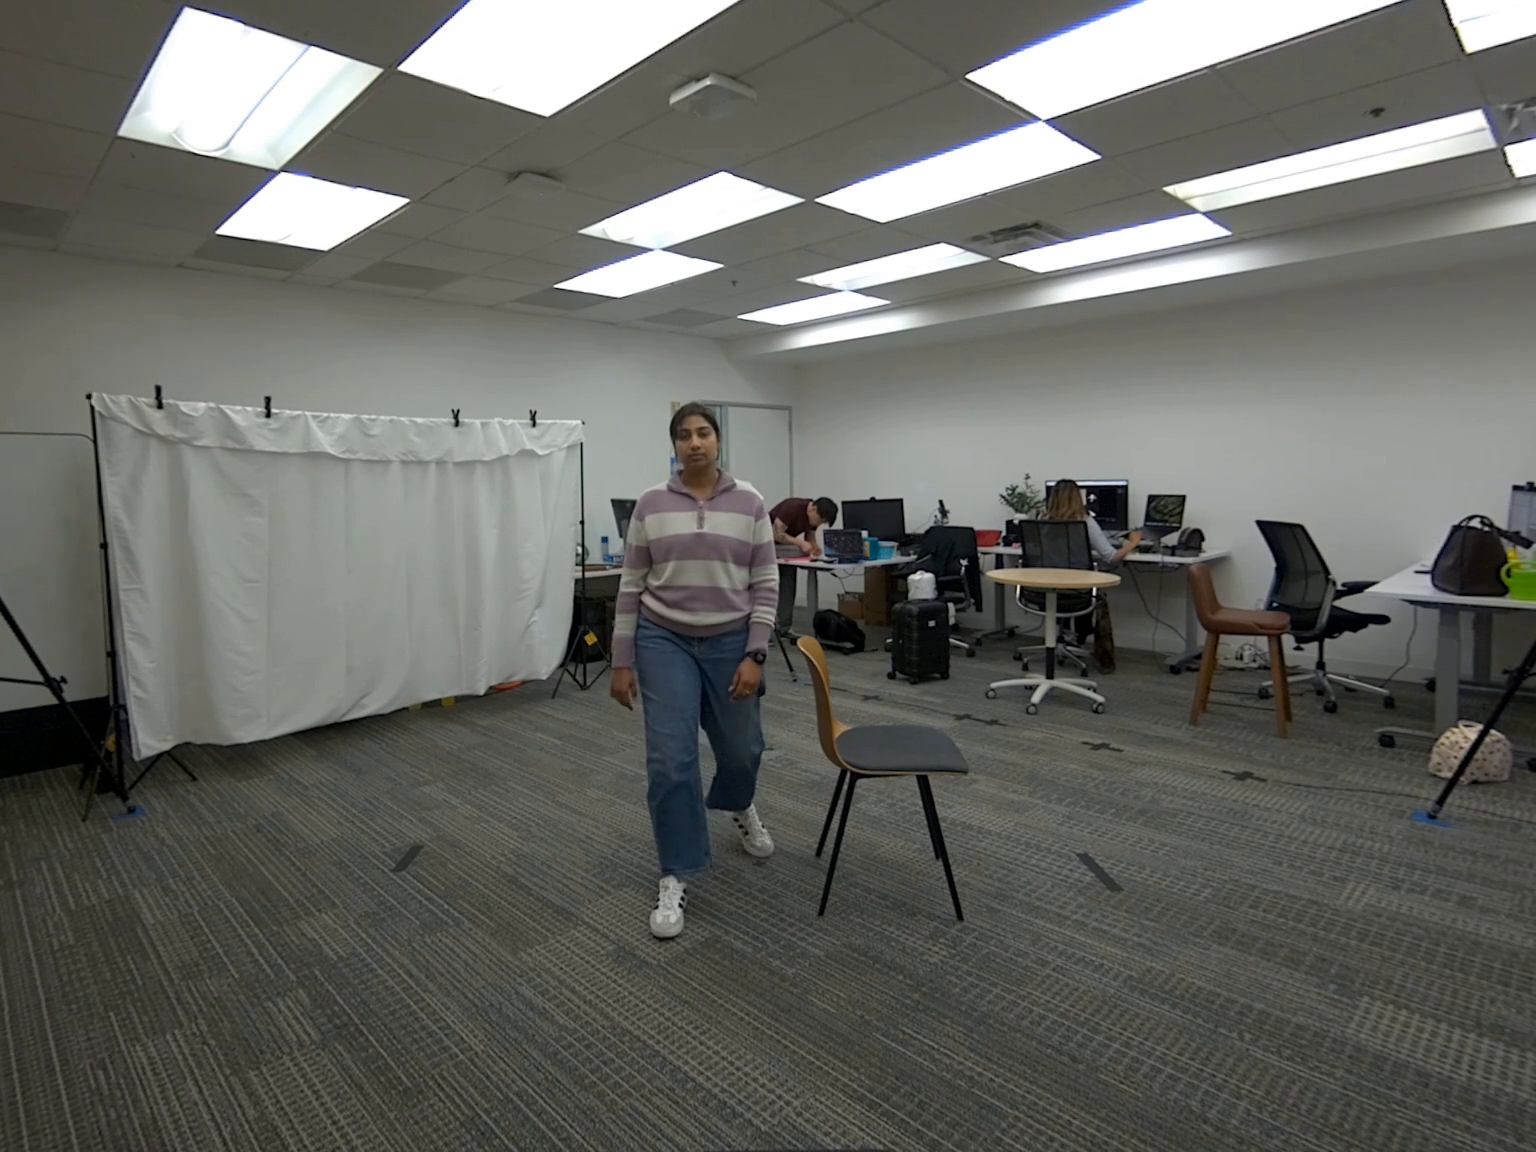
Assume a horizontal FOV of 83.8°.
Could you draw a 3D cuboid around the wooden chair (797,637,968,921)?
[{"bbox_3d":[0.397,0.630,2.901,0.525,0.875,0.477,-5,3,4],"label":"wooden chair"}]
